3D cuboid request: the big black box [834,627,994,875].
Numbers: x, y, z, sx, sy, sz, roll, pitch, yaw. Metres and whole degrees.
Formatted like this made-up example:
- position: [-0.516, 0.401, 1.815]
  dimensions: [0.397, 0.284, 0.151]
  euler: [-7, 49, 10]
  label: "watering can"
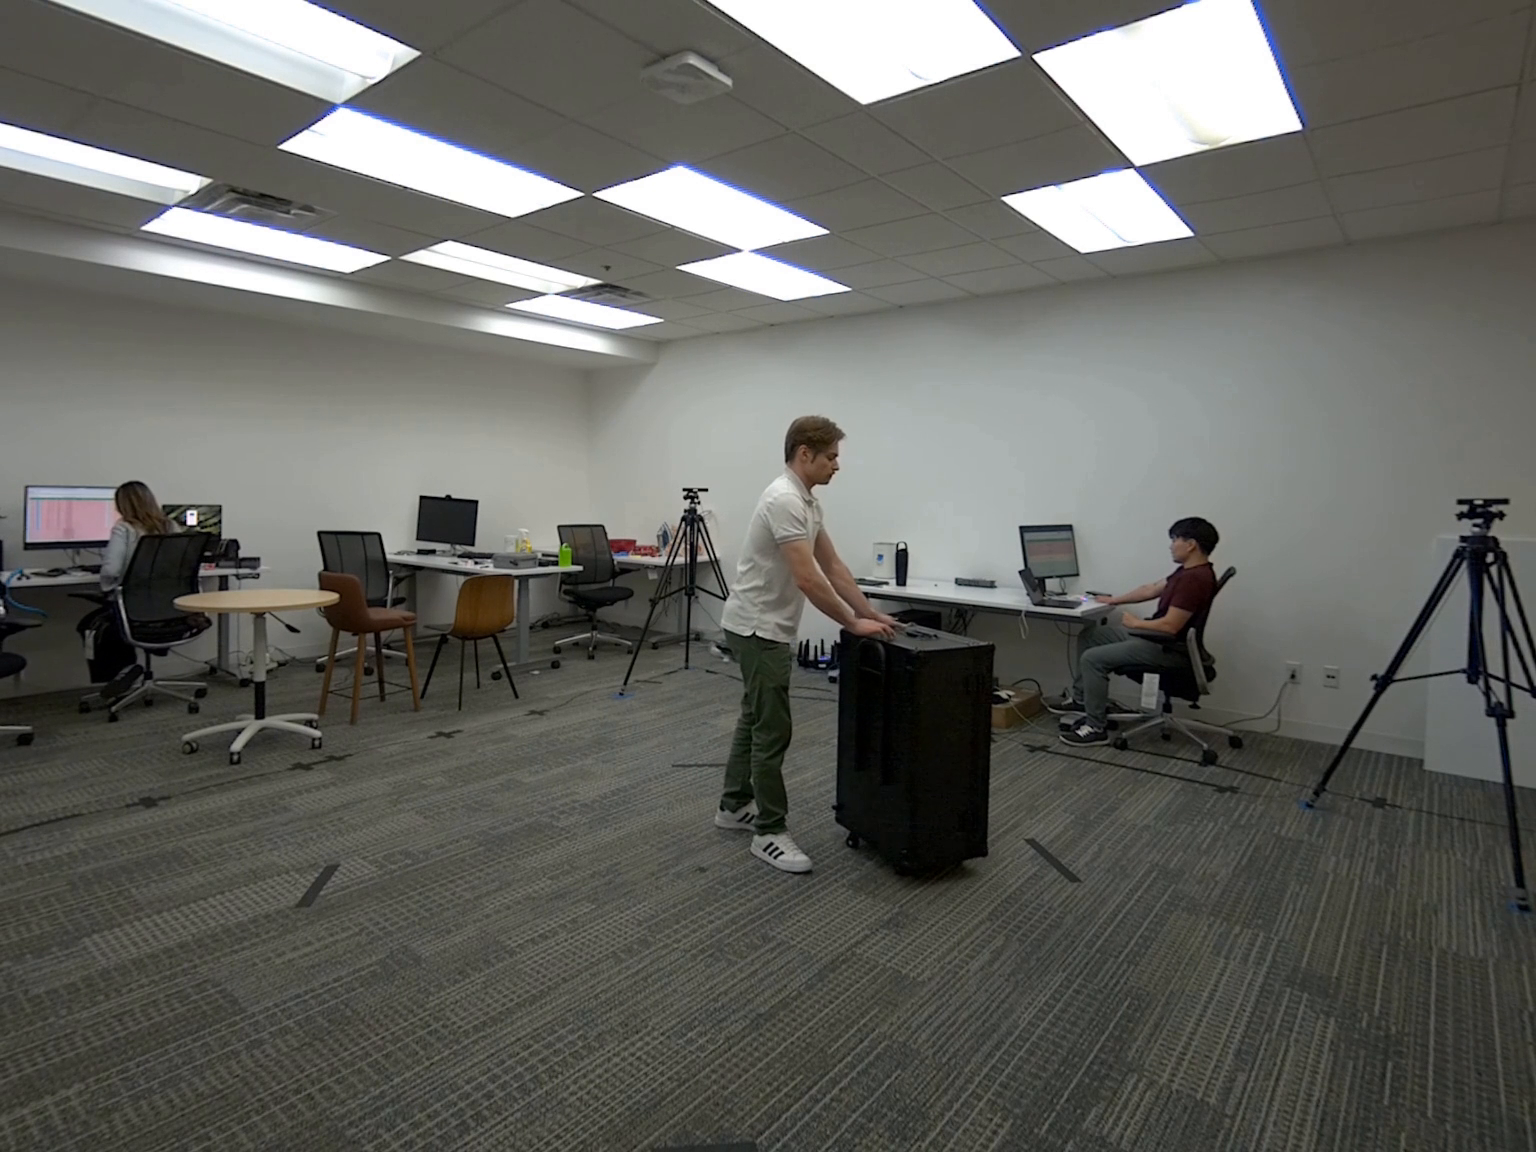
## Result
- position: [0.537, 0.652, 3.230]
  dimensions: [0.376, 0.866, 0.538]
  euler: [-1, 4, -27]
  label: "big black box"
